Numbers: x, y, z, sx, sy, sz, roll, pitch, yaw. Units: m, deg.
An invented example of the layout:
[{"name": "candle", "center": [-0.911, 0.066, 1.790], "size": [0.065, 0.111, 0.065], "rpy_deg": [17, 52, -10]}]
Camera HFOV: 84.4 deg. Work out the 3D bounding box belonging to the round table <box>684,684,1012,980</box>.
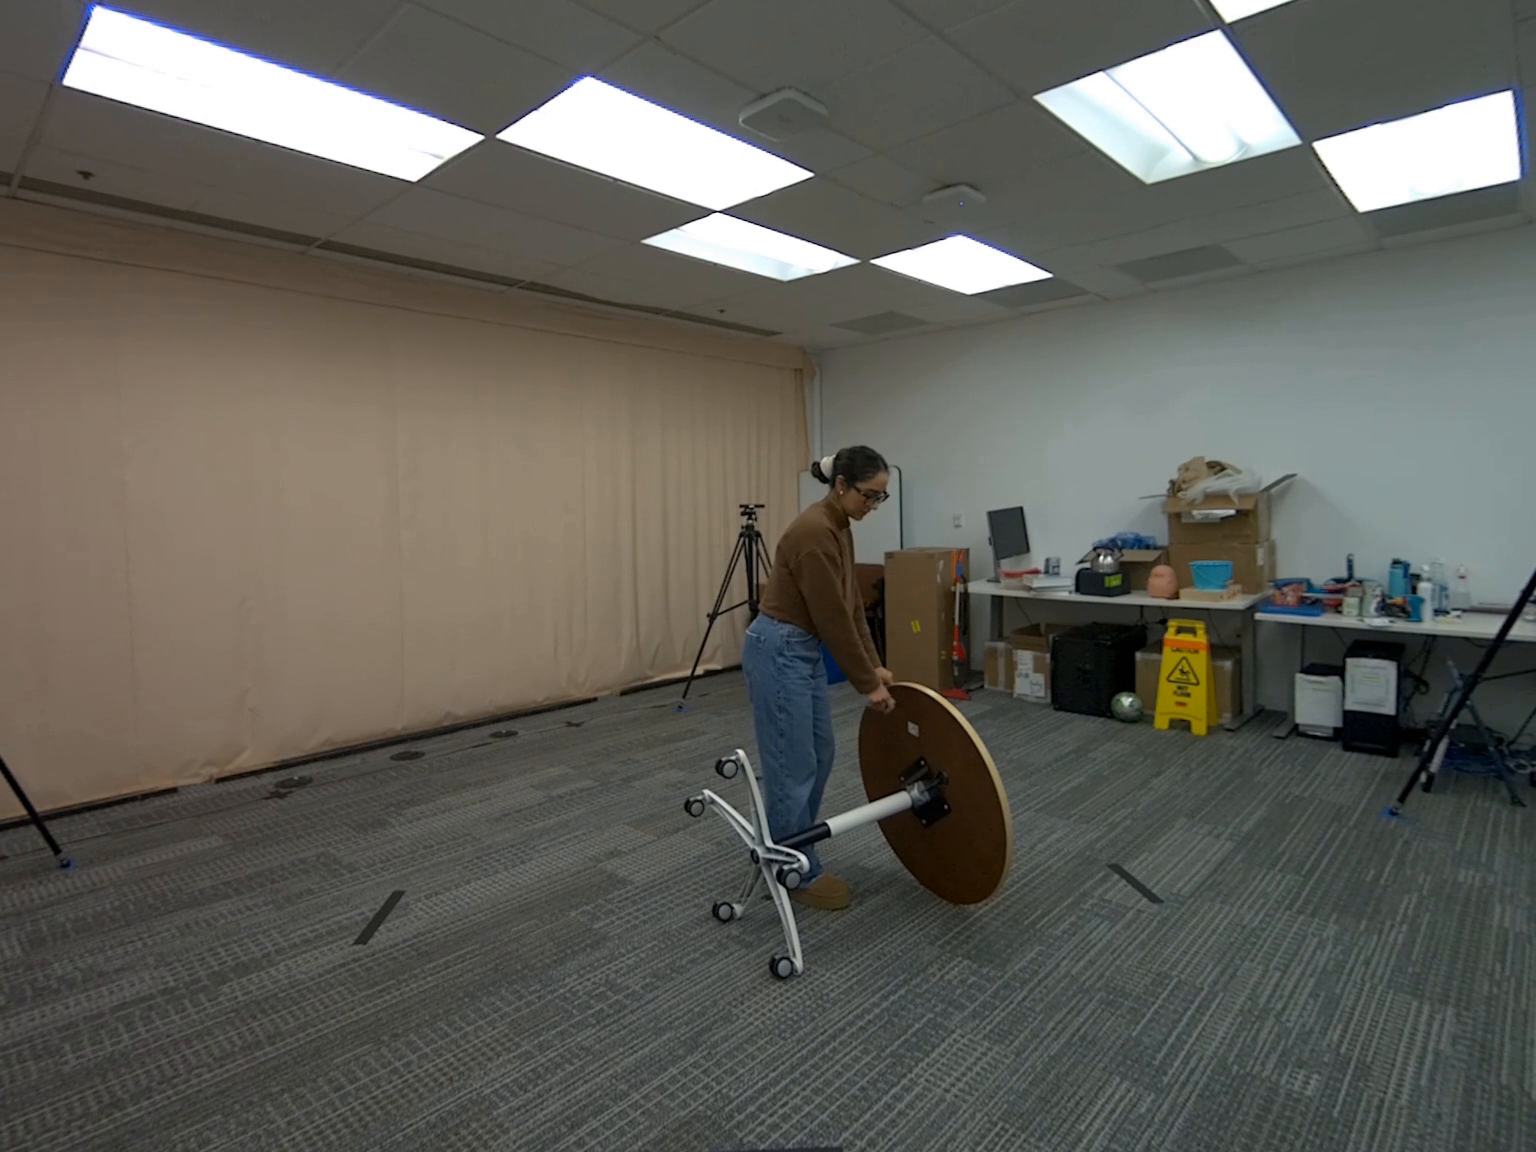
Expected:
[{"name": "round table", "center": [0.233, 0.821, 2.774], "size": [0.776, 0.760, 0.785], "rpy_deg": [-11, 8, -27]}]
